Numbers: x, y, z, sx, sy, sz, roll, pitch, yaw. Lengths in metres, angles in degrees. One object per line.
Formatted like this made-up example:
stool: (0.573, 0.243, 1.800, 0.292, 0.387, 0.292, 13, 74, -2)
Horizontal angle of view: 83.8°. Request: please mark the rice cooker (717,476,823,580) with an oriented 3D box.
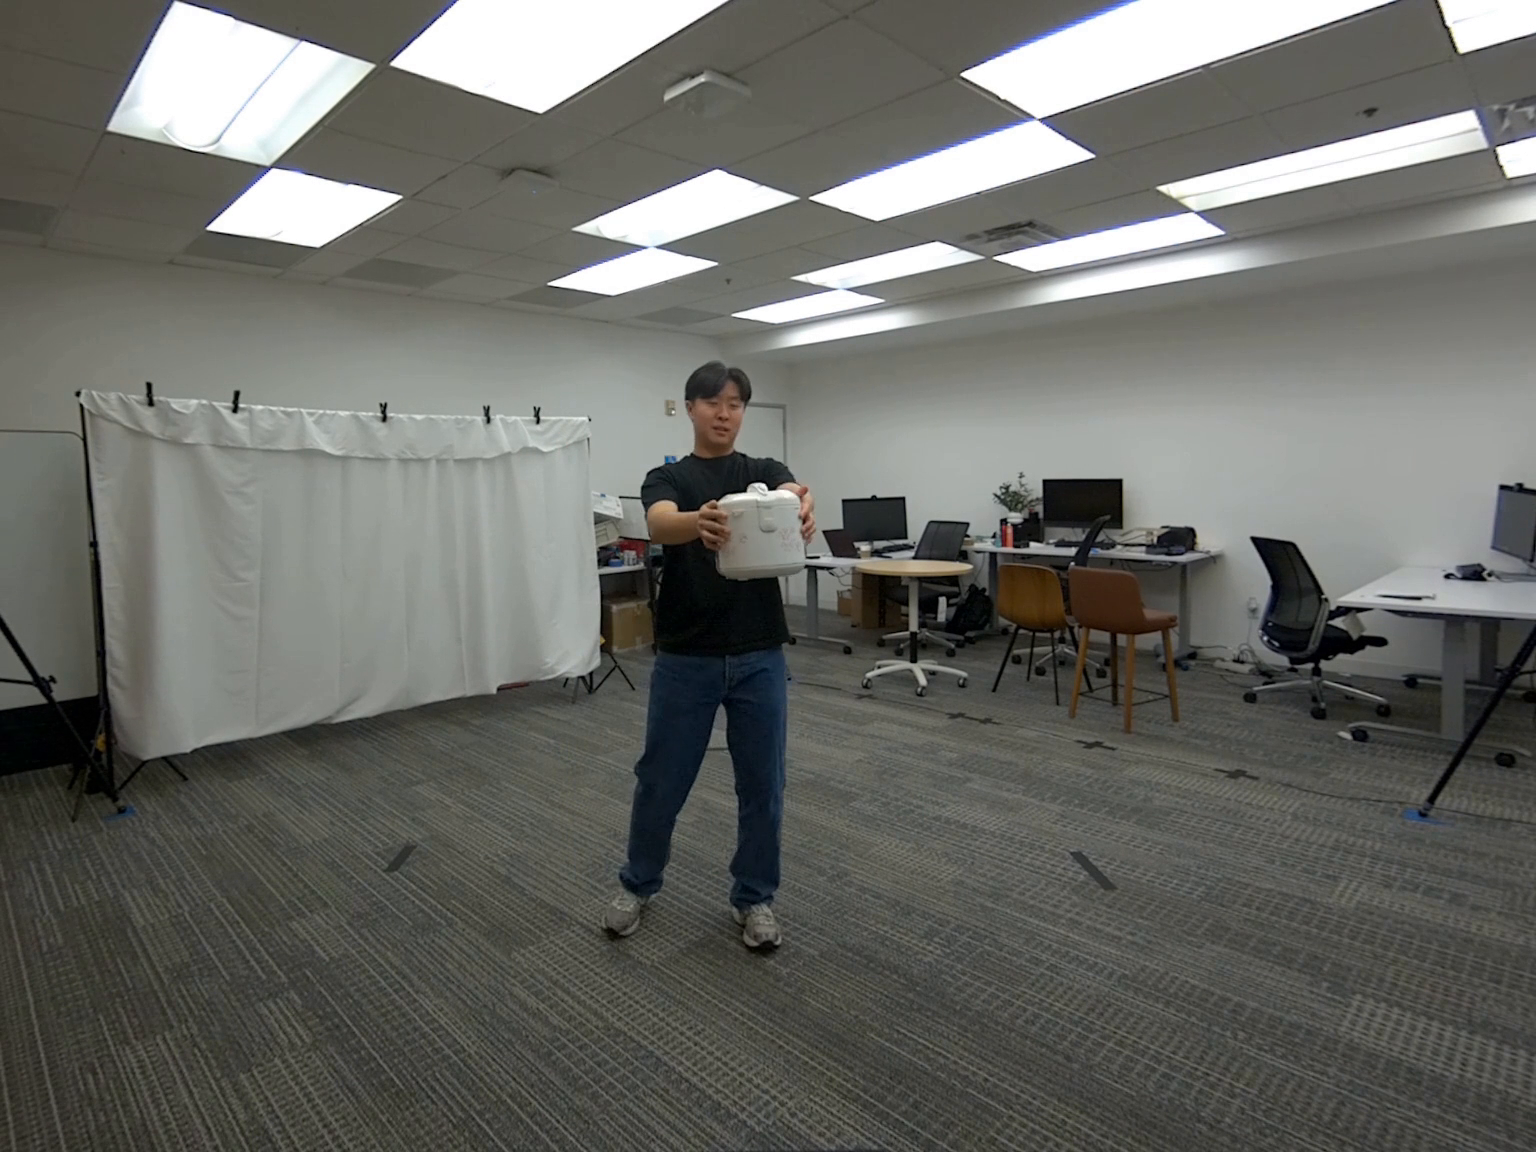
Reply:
rice cooker: (-0.010, -0.113, 2.100, 0.216, 0.233, 0.222, -4, 0, -10)
